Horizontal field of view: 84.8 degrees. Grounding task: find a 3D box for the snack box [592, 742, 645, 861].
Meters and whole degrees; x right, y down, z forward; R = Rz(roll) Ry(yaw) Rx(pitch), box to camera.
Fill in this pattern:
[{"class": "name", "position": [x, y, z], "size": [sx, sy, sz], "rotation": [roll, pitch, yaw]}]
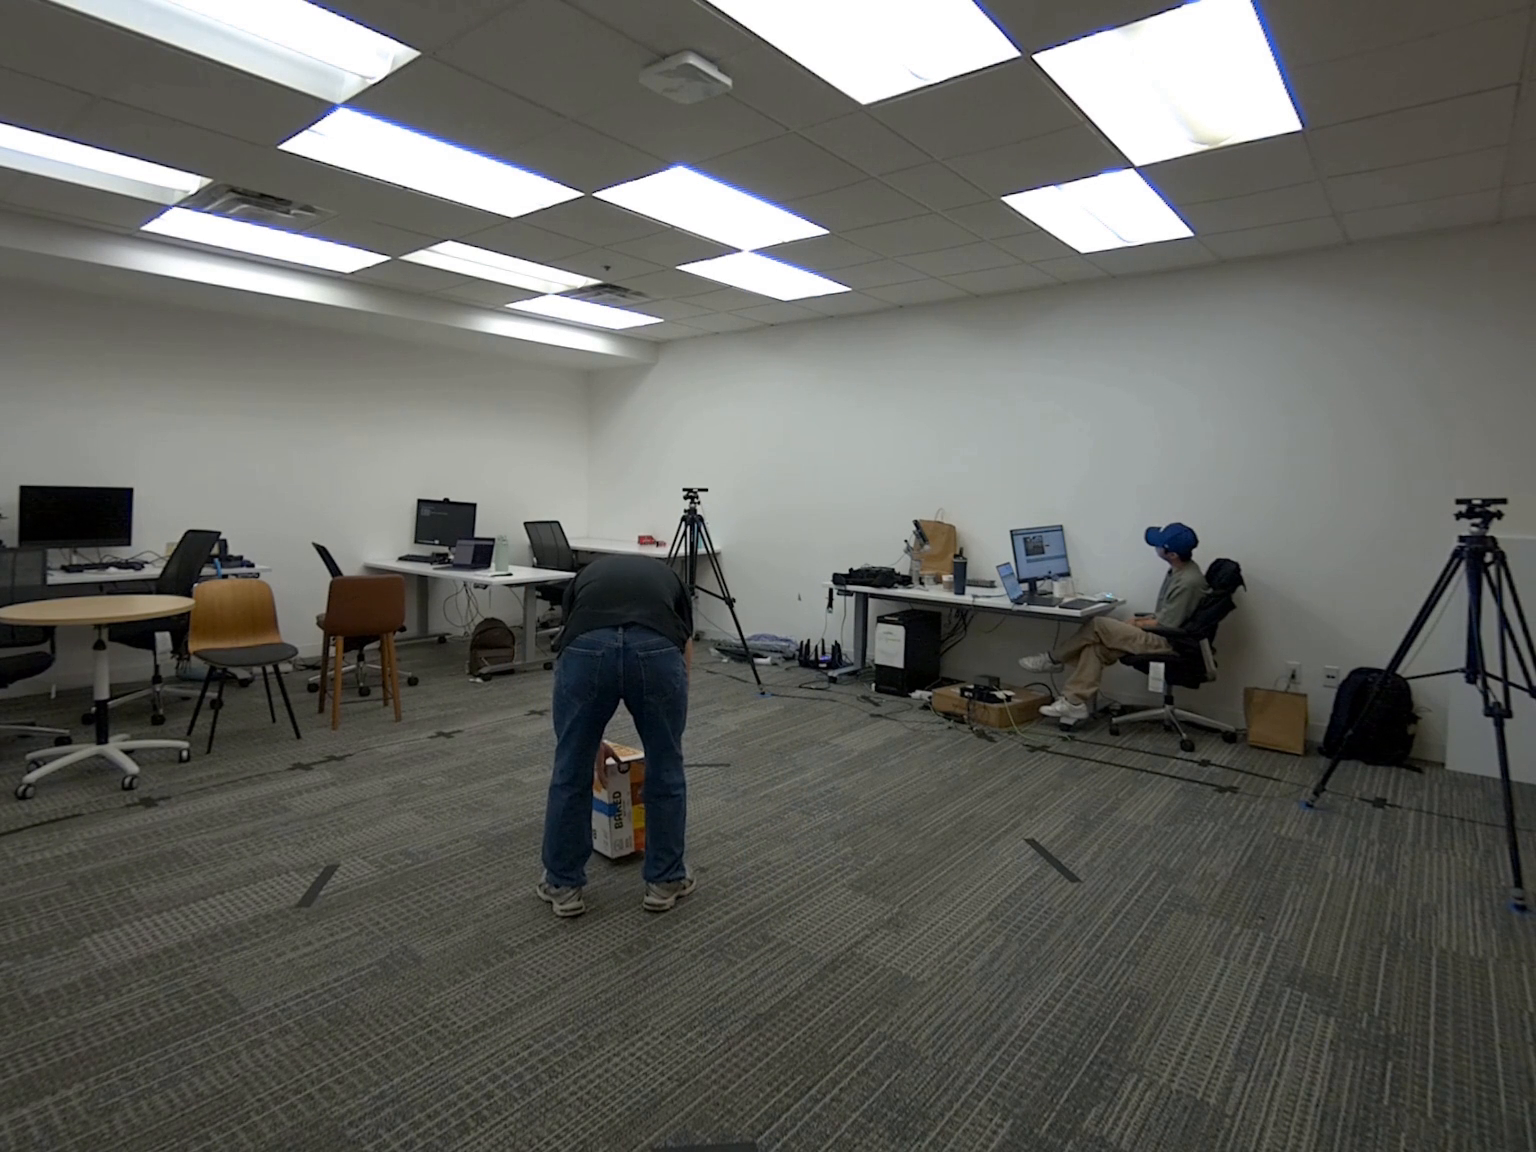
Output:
[{"class": "snack box", "position": [-0.629, 0.849, 3.306], "size": [0.200, 0.341, 0.416], "rotation": [-2, 0, -36]}]
